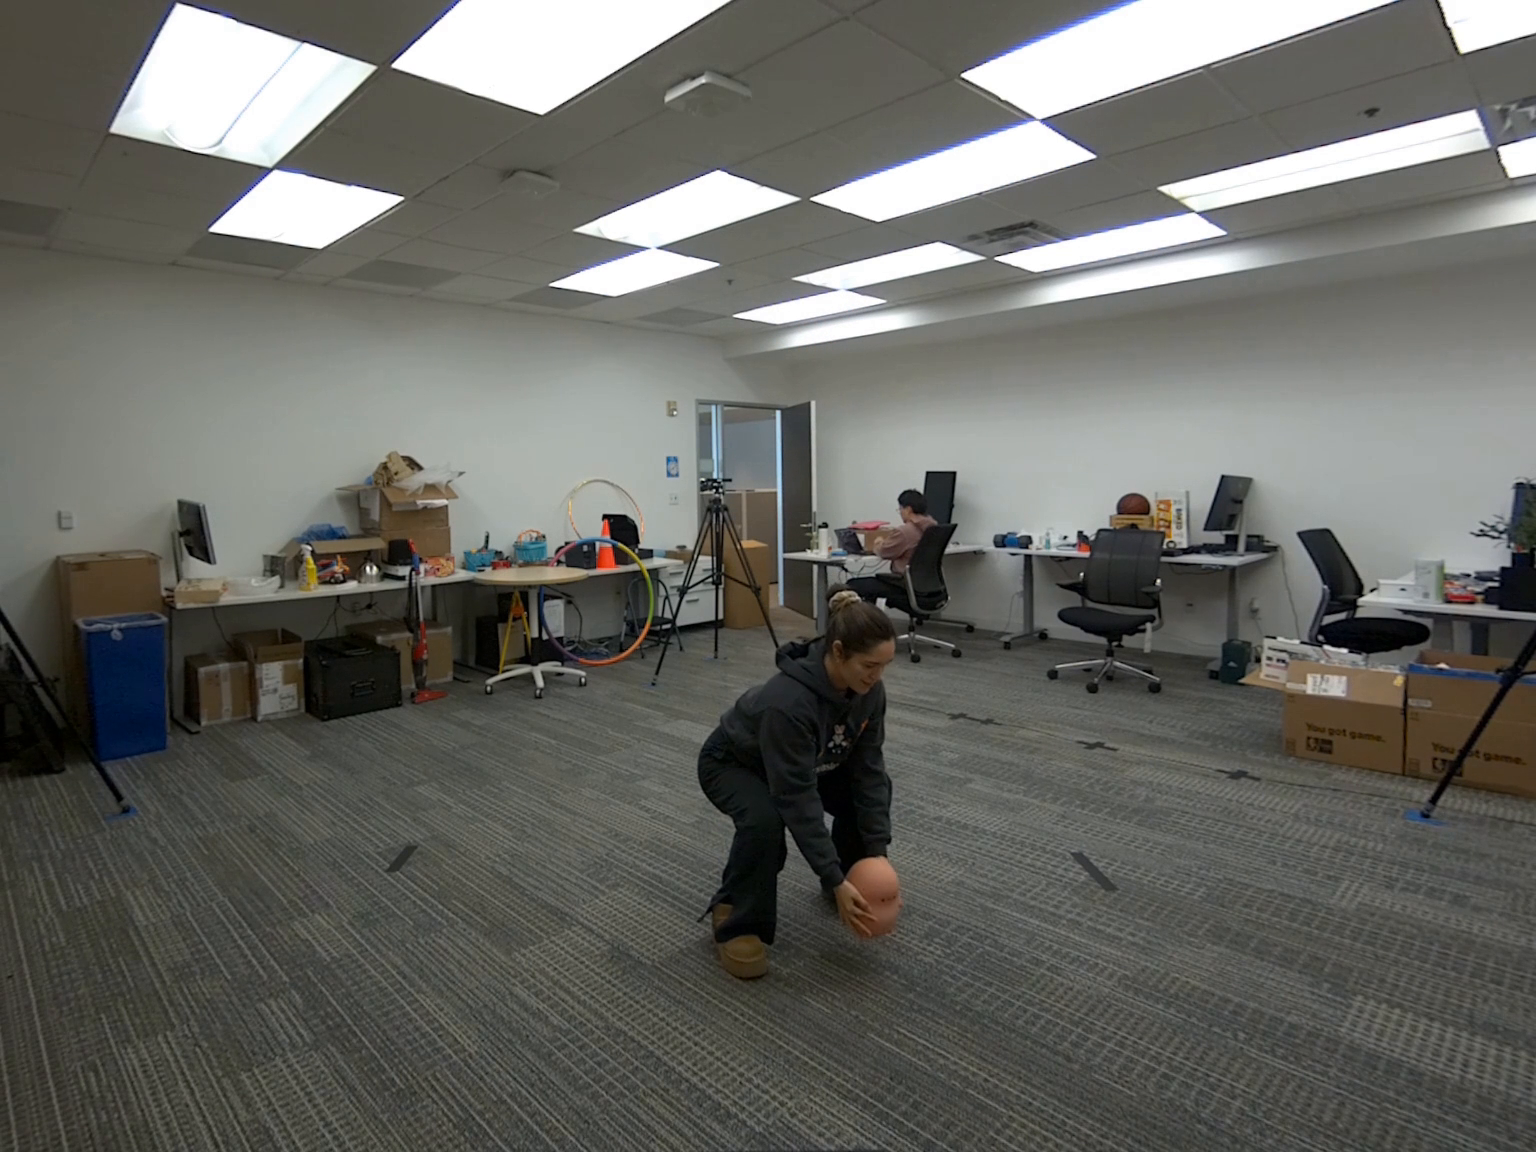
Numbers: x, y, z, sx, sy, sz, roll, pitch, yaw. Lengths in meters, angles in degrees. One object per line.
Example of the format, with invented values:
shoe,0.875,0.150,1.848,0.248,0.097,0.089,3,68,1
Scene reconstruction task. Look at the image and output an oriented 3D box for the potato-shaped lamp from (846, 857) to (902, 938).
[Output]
potato-shaped lamp,0.284,0.896,2.394,0.161,0.195,0.178,1,26,-27
